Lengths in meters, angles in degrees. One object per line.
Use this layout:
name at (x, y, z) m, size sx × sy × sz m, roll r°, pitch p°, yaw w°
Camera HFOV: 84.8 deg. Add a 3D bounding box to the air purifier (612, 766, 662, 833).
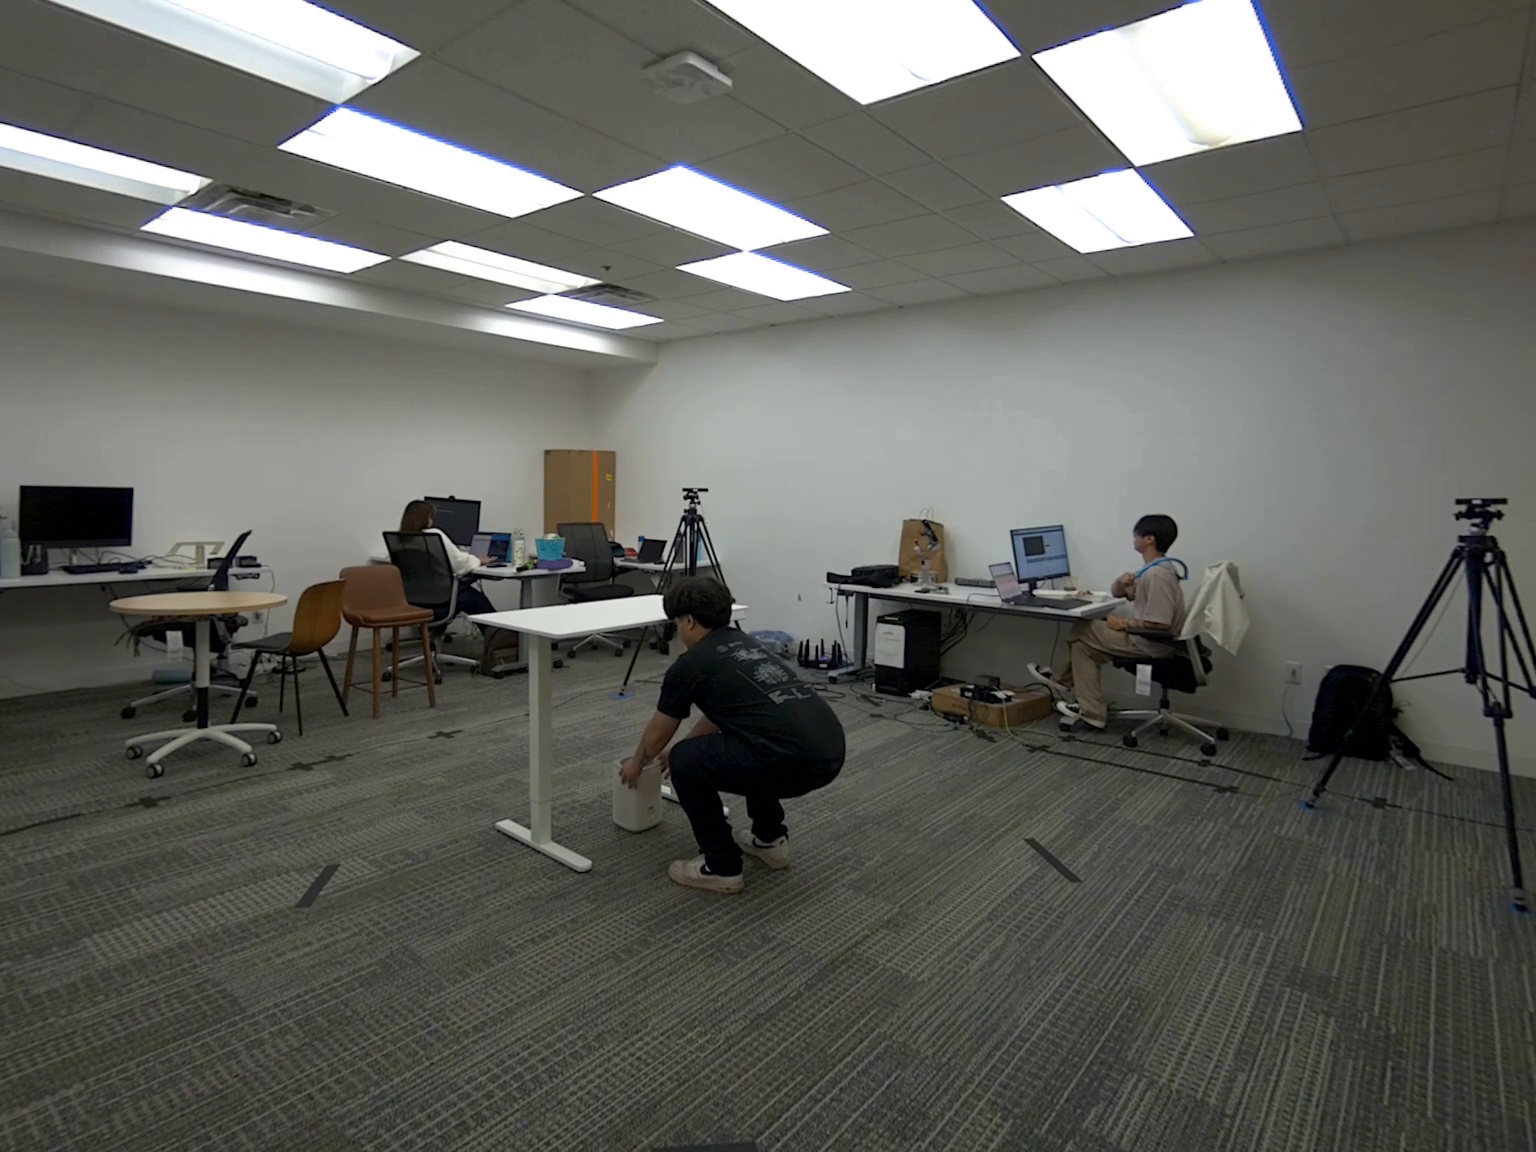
air purifier at (-0.549, 0.891, 3.496) m, size 0.177 × 0.264 × 0.166 m, roll 5°, pitch 8°, yaw 40°
